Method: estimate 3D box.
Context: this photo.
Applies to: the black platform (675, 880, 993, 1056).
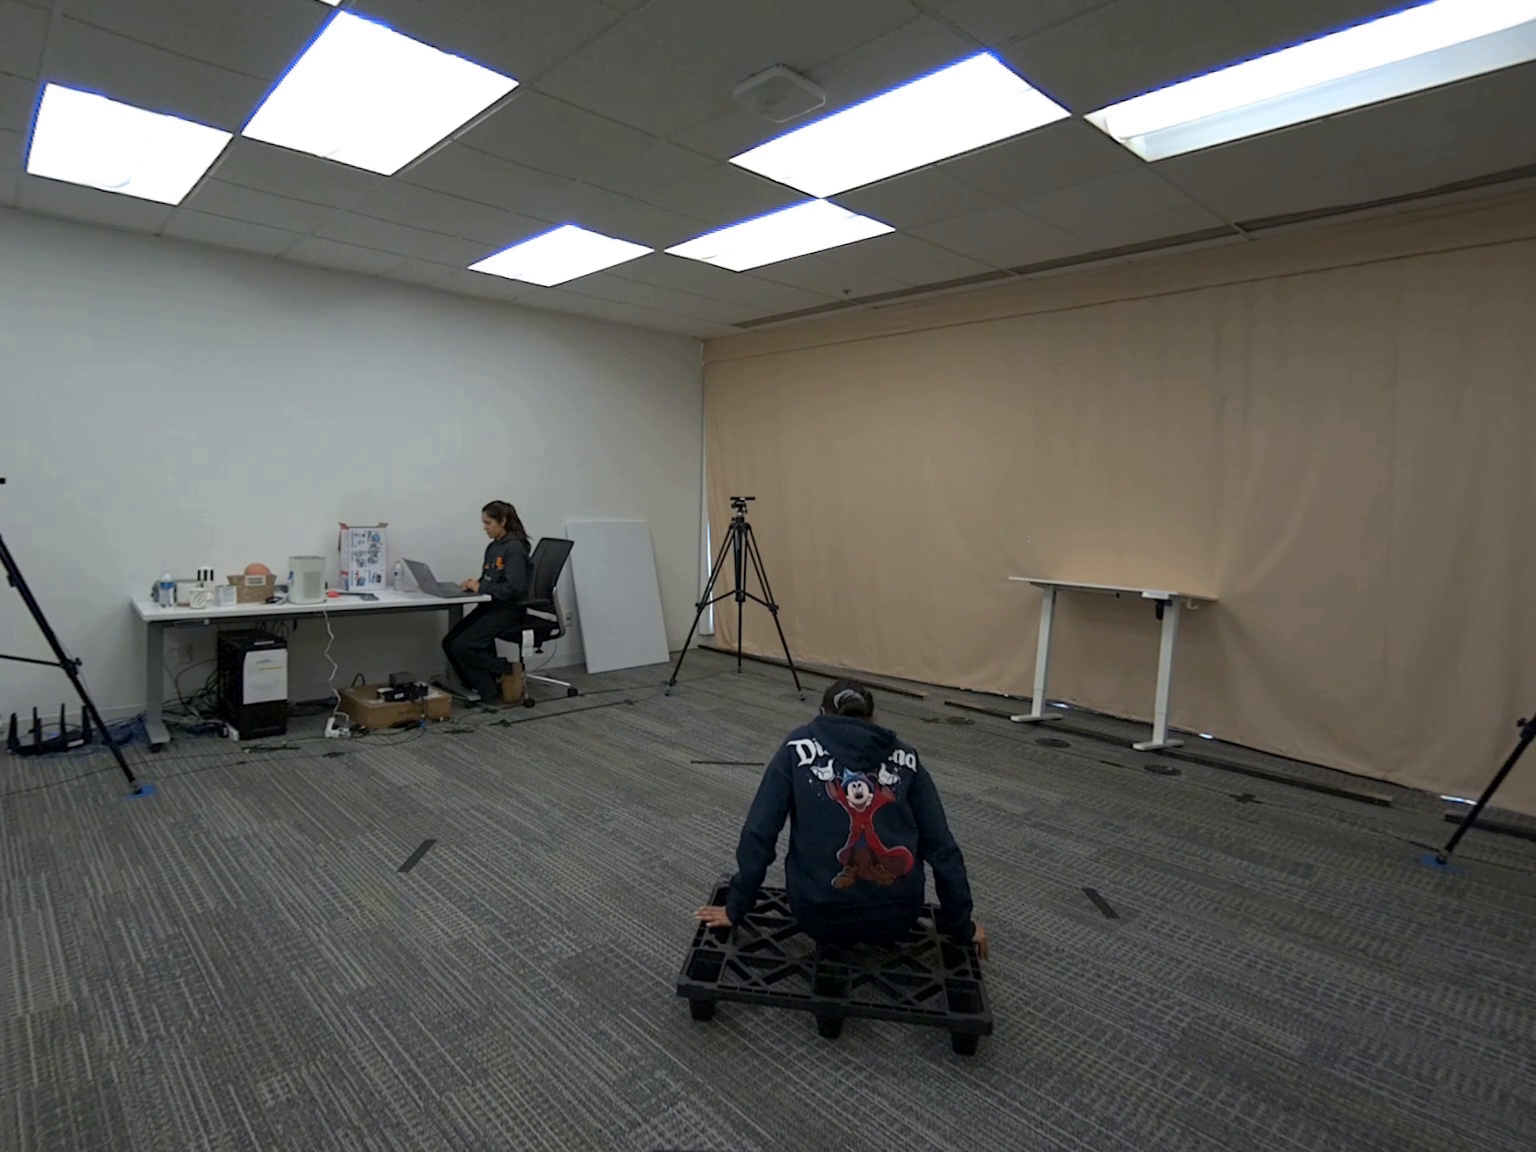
[{"bbox_3d":[0.186,1.112,2.404,0.811,0.143,0.603,2,6,7],"label":"black platform"}]
